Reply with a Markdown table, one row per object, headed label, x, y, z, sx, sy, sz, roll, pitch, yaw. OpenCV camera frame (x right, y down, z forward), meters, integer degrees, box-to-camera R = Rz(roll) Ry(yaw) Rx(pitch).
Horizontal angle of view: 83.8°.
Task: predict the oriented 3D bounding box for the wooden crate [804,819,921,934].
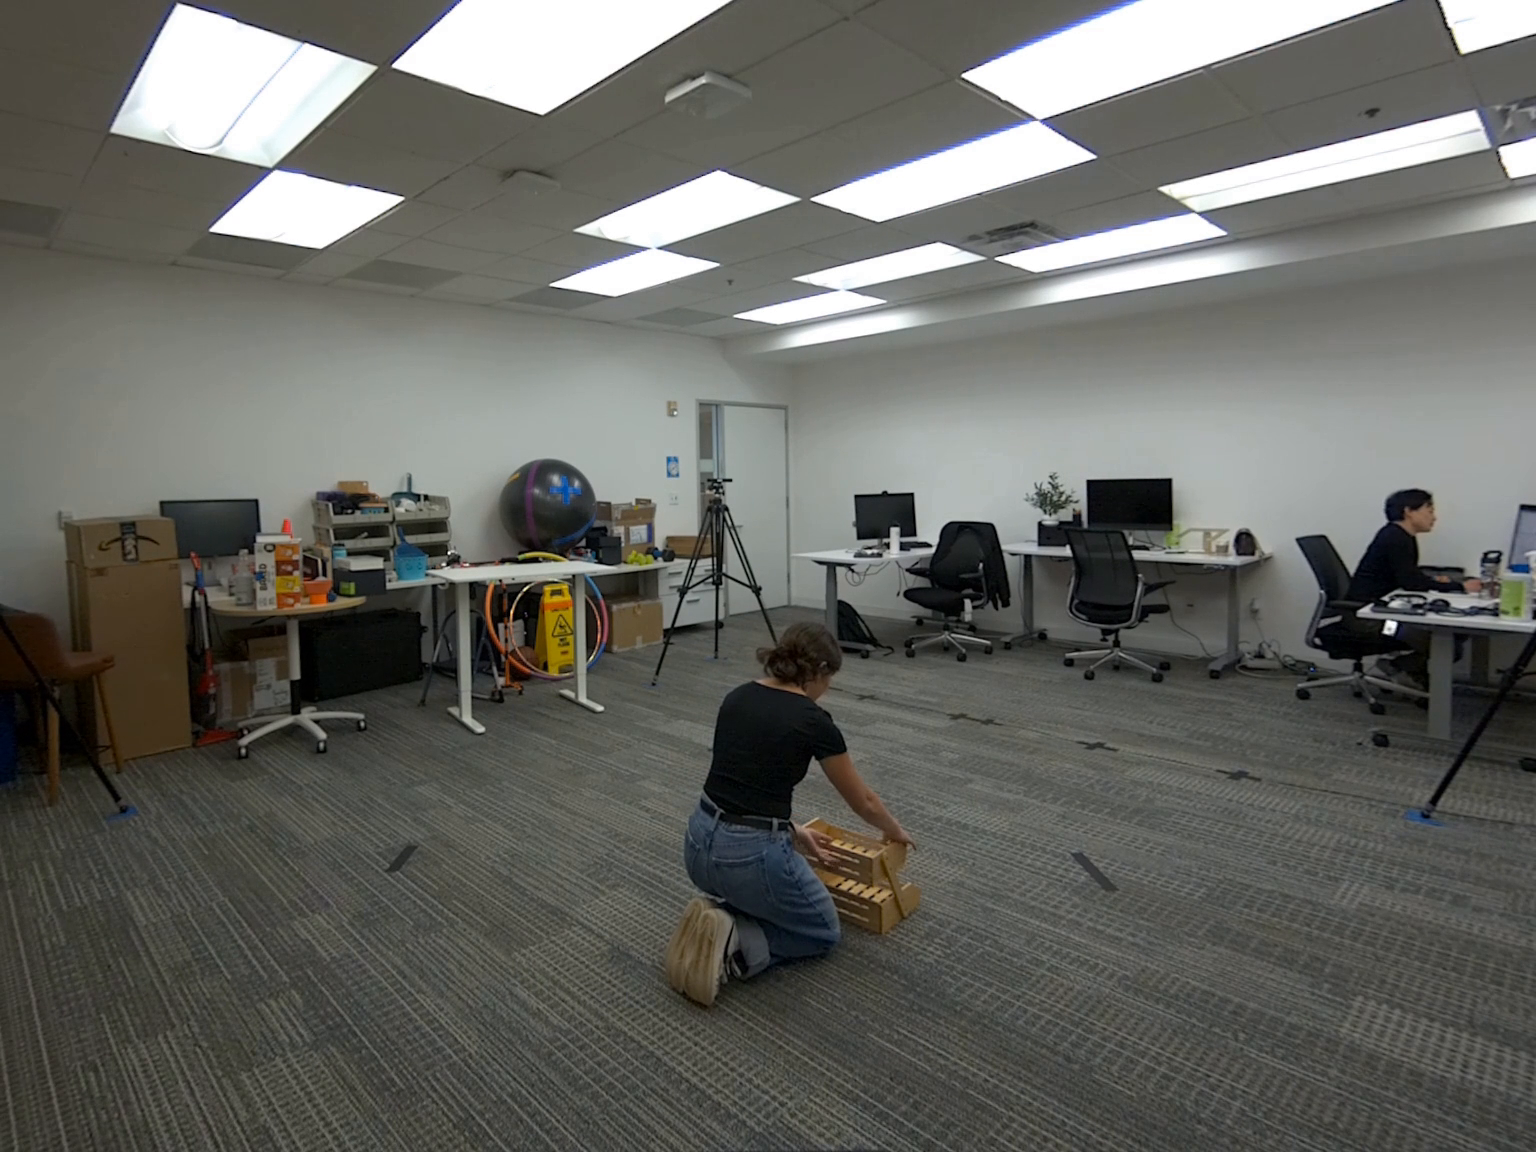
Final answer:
| label | x | y | z | sx | sy | sz | roll | pitch | yaw |
| --- | --- | --- | --- | --- | --- | --- | --- | --- | --- |
| wooden crate | 0.296 | 0.944 | 2.773 | 0.334 | 0.272 | 0.294 | 3 | 8 | 39 |
